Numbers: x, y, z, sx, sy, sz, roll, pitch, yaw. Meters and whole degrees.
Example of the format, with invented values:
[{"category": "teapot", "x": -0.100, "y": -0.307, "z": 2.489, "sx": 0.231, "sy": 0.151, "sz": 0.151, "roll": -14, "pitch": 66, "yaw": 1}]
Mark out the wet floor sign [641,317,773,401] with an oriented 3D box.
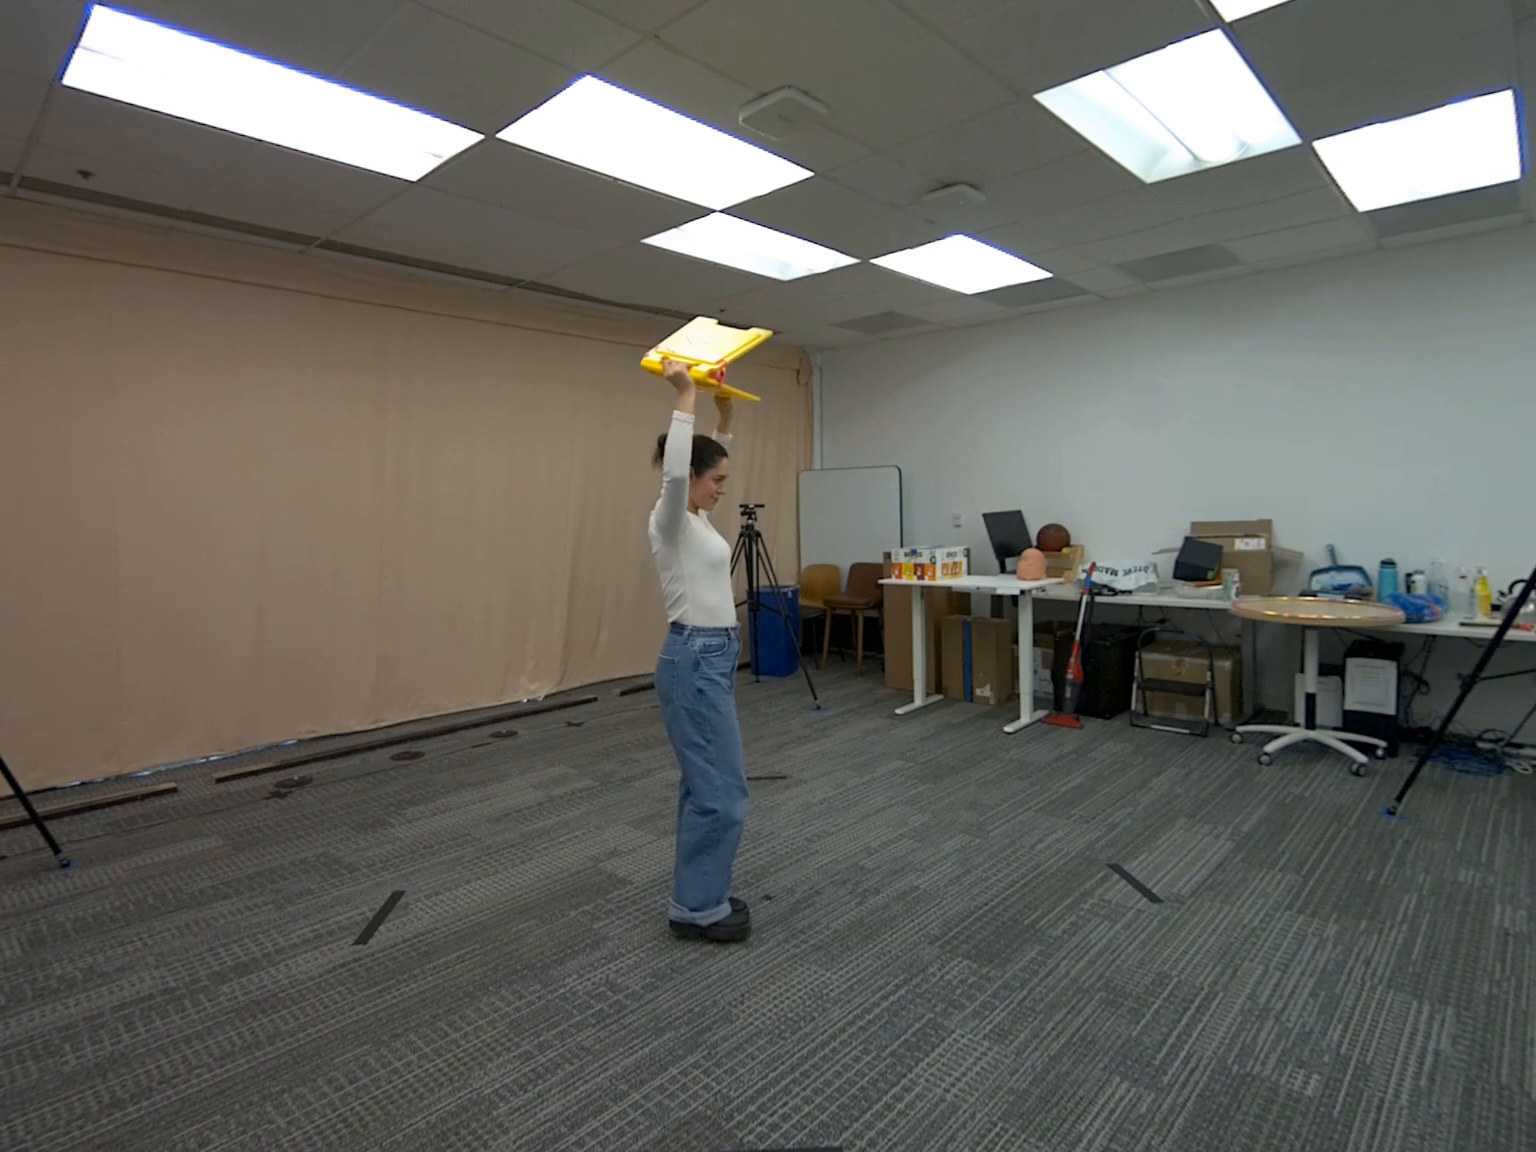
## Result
[{"category": "wet floor sign", "x": -0.207, "y": -0.685, "z": 2.718, "sx": 0.285, "sy": 0.287, "sz": 0.643, "roll": 13, "pitch": 18, "yaw": 8}]
